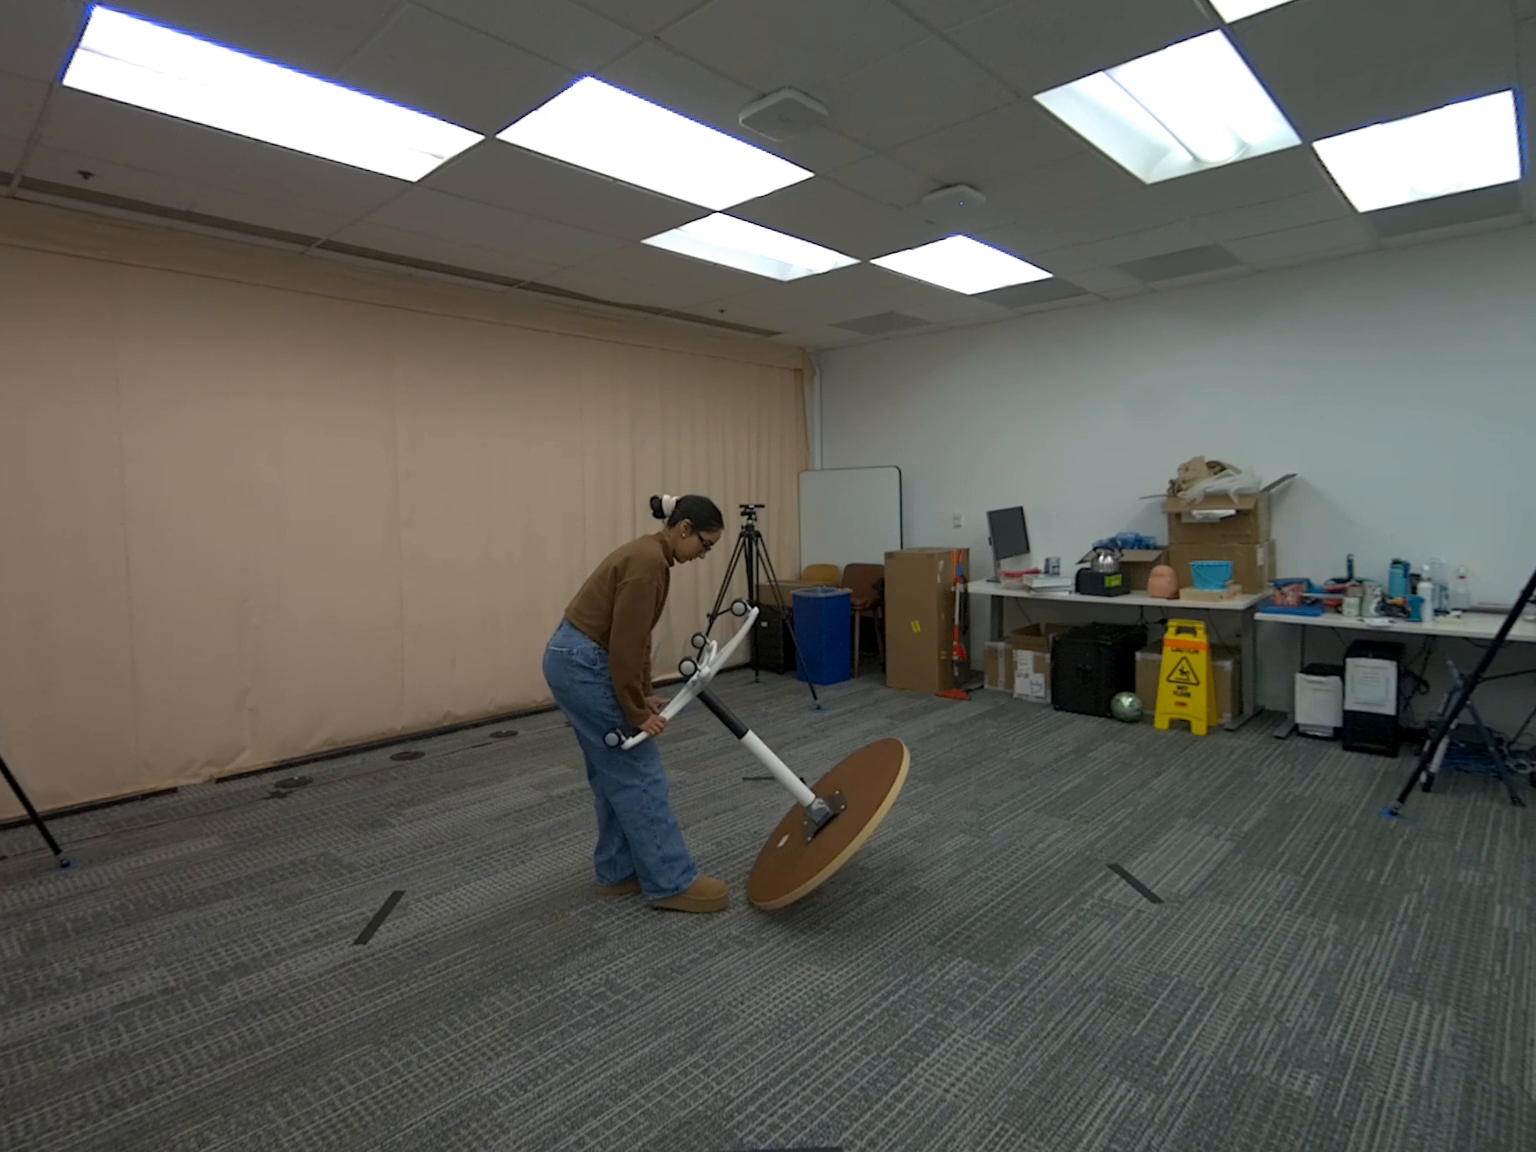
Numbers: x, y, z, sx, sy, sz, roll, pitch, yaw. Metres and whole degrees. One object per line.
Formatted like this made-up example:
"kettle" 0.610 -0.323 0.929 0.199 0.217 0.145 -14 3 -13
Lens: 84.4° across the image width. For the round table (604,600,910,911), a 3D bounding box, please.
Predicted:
"round table" -0.053 0.591 3.004 0.763 0.793 0.765 -44 2 -1
